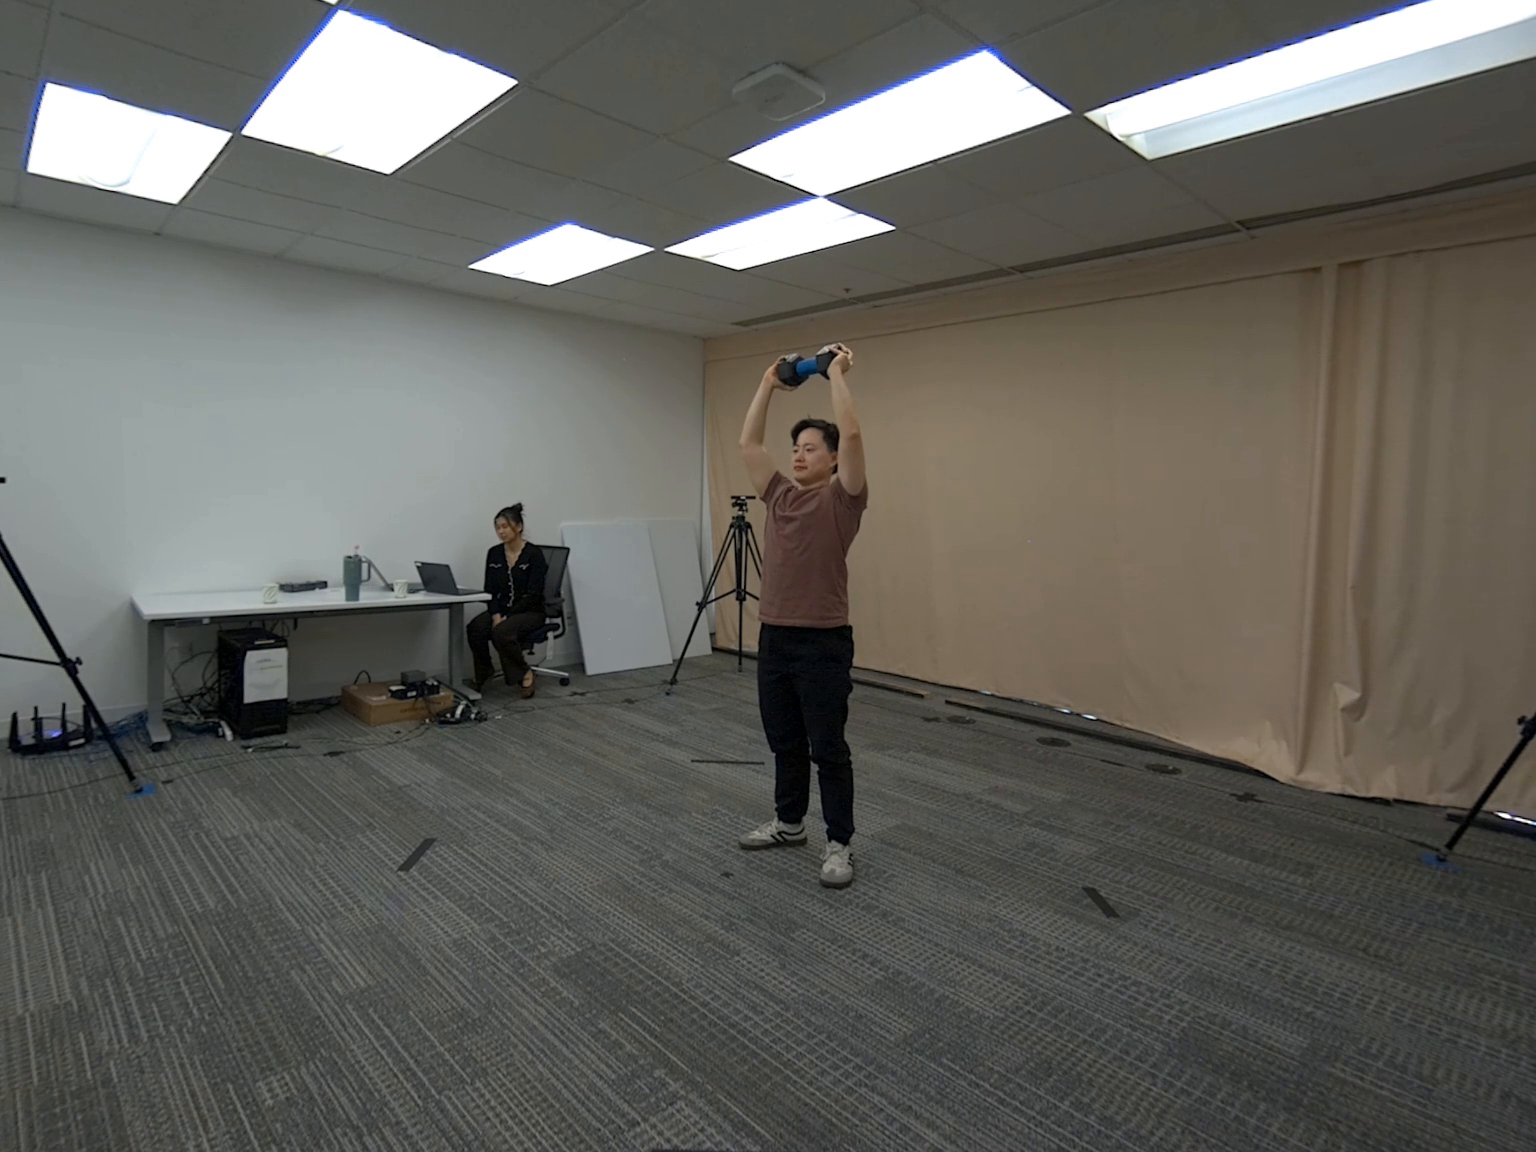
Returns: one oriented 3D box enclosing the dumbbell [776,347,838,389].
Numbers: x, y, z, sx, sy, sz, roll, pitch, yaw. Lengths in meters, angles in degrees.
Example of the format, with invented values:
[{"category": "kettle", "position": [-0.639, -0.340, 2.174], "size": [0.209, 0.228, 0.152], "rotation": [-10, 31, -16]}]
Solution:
[{"category": "dumbbell", "position": [0.156, -0.778, 3.165], "size": [0.300, 0.106, 0.123], "rotation": [3, 39, 50]}]
